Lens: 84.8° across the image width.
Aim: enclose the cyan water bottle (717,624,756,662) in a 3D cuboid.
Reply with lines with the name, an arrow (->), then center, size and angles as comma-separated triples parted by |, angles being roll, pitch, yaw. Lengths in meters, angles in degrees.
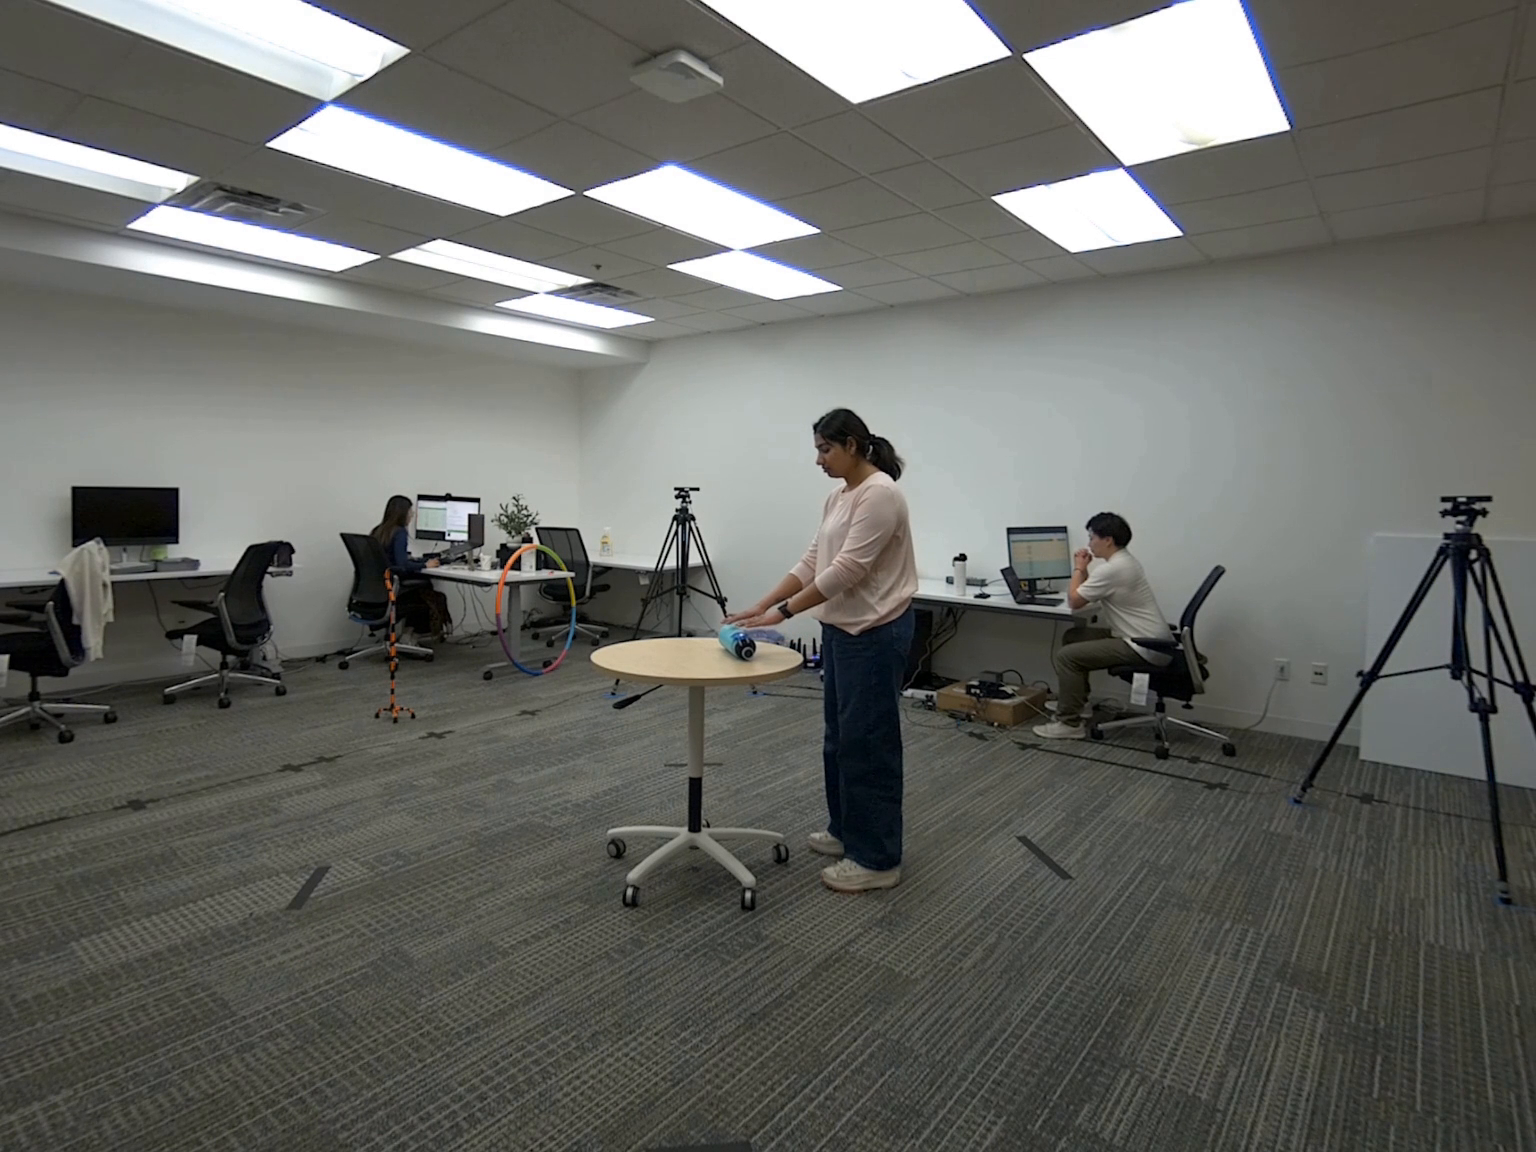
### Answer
cyan water bottle -> -0.125, 0.238, 3.101 | 0.091, 0.092, 0.288 | 0, 5, -14
